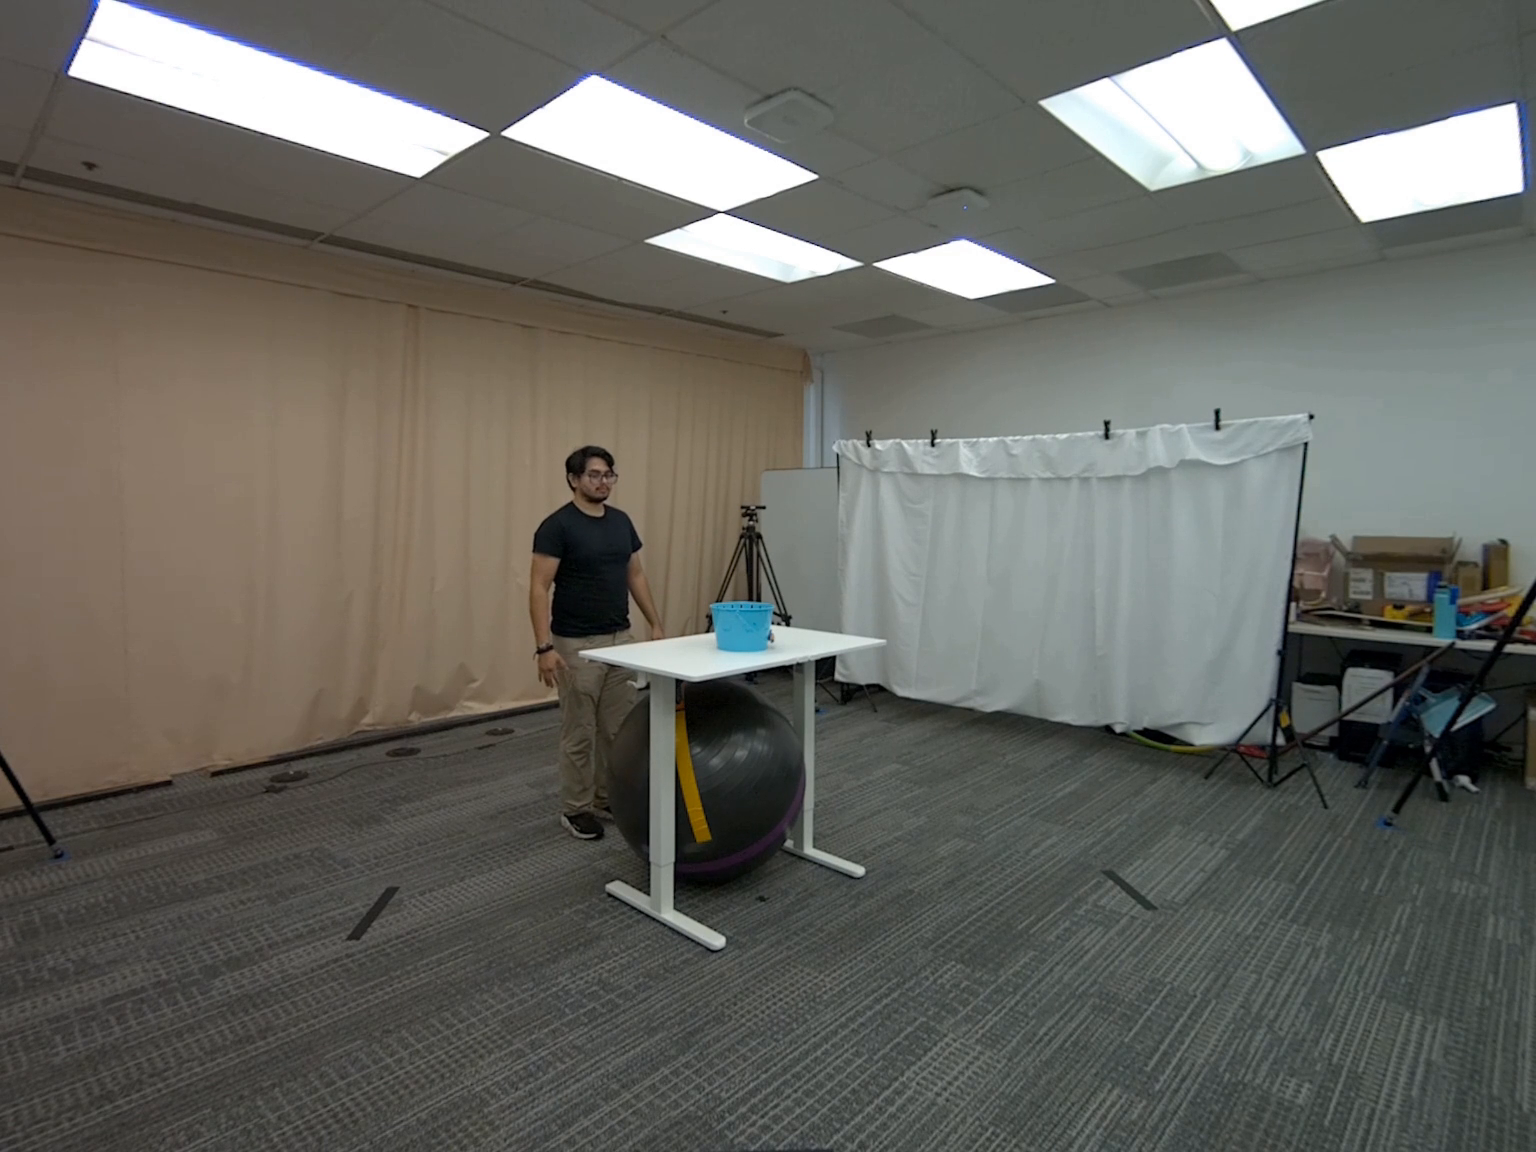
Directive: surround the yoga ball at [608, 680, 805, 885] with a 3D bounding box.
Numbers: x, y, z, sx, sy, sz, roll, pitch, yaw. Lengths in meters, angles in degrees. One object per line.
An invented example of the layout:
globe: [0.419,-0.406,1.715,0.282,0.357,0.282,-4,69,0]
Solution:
yoga ball: [-0.241,0.769,3.214,0.757,0.756,0.760,0,4,-2]
